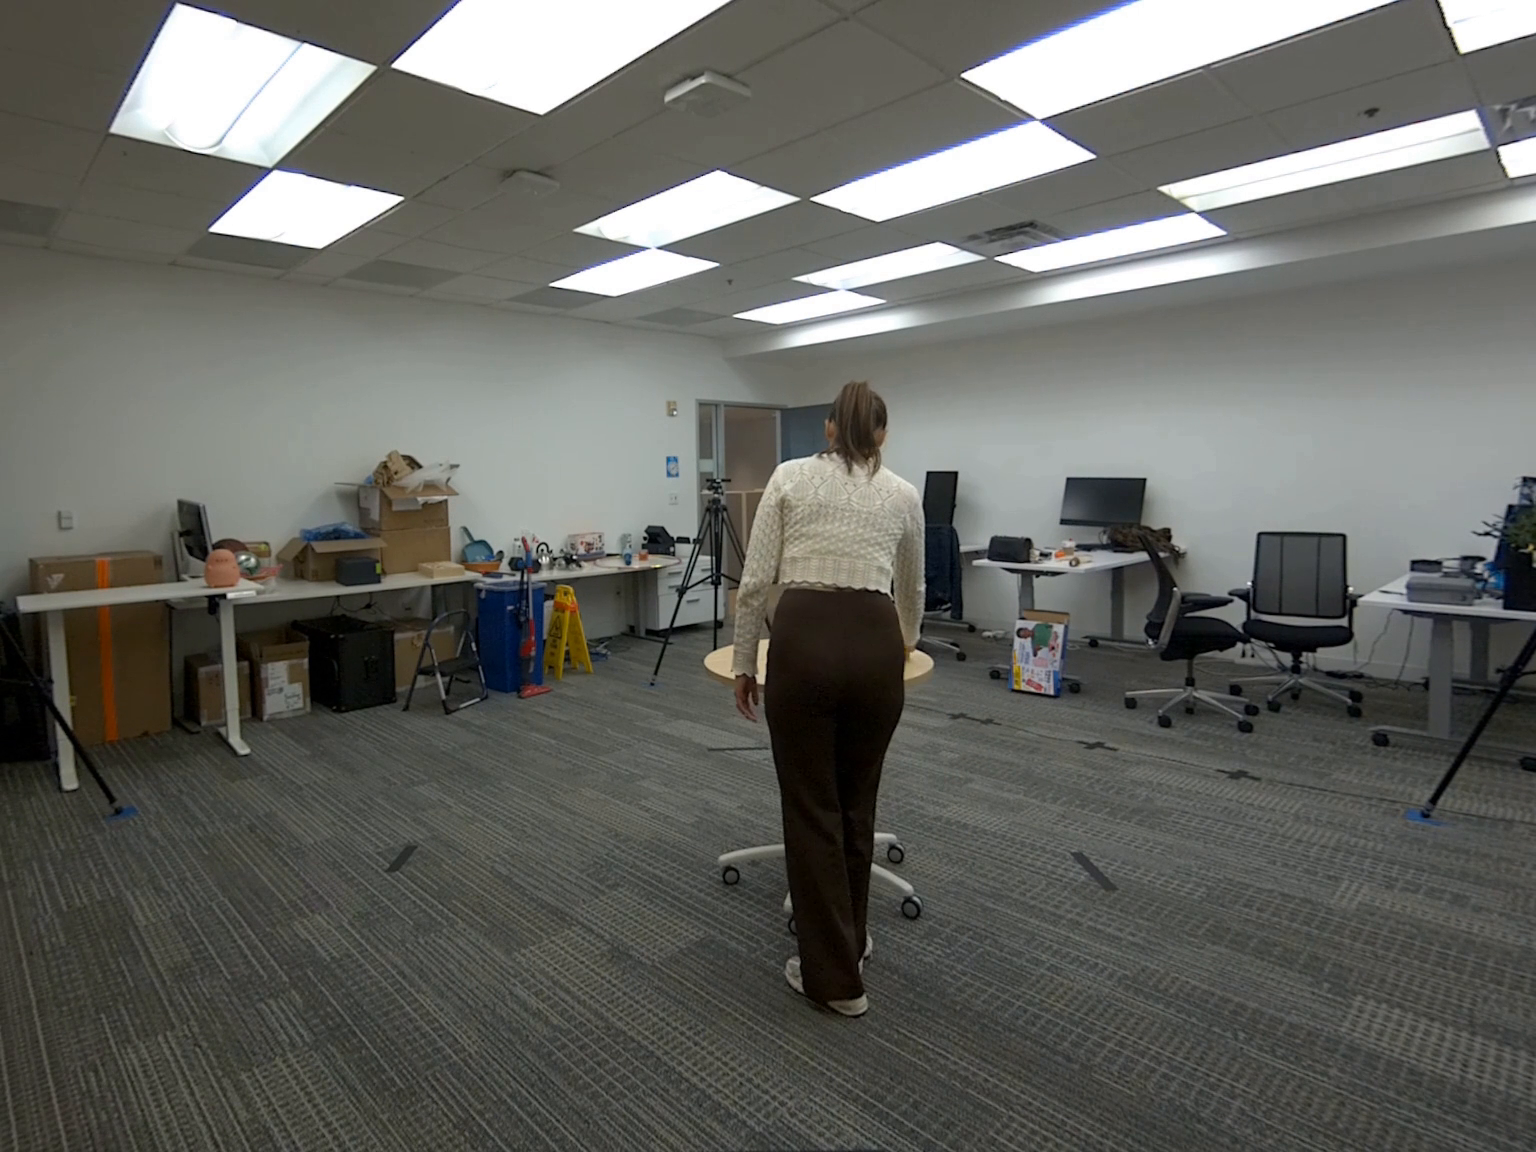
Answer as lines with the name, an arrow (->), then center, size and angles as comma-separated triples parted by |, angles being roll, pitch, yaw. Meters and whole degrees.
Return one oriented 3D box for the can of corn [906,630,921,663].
can of corn -> 0.464, 0.226, 2.872 | 0.074, 0.110, 0.075 | 0, 7, -2
